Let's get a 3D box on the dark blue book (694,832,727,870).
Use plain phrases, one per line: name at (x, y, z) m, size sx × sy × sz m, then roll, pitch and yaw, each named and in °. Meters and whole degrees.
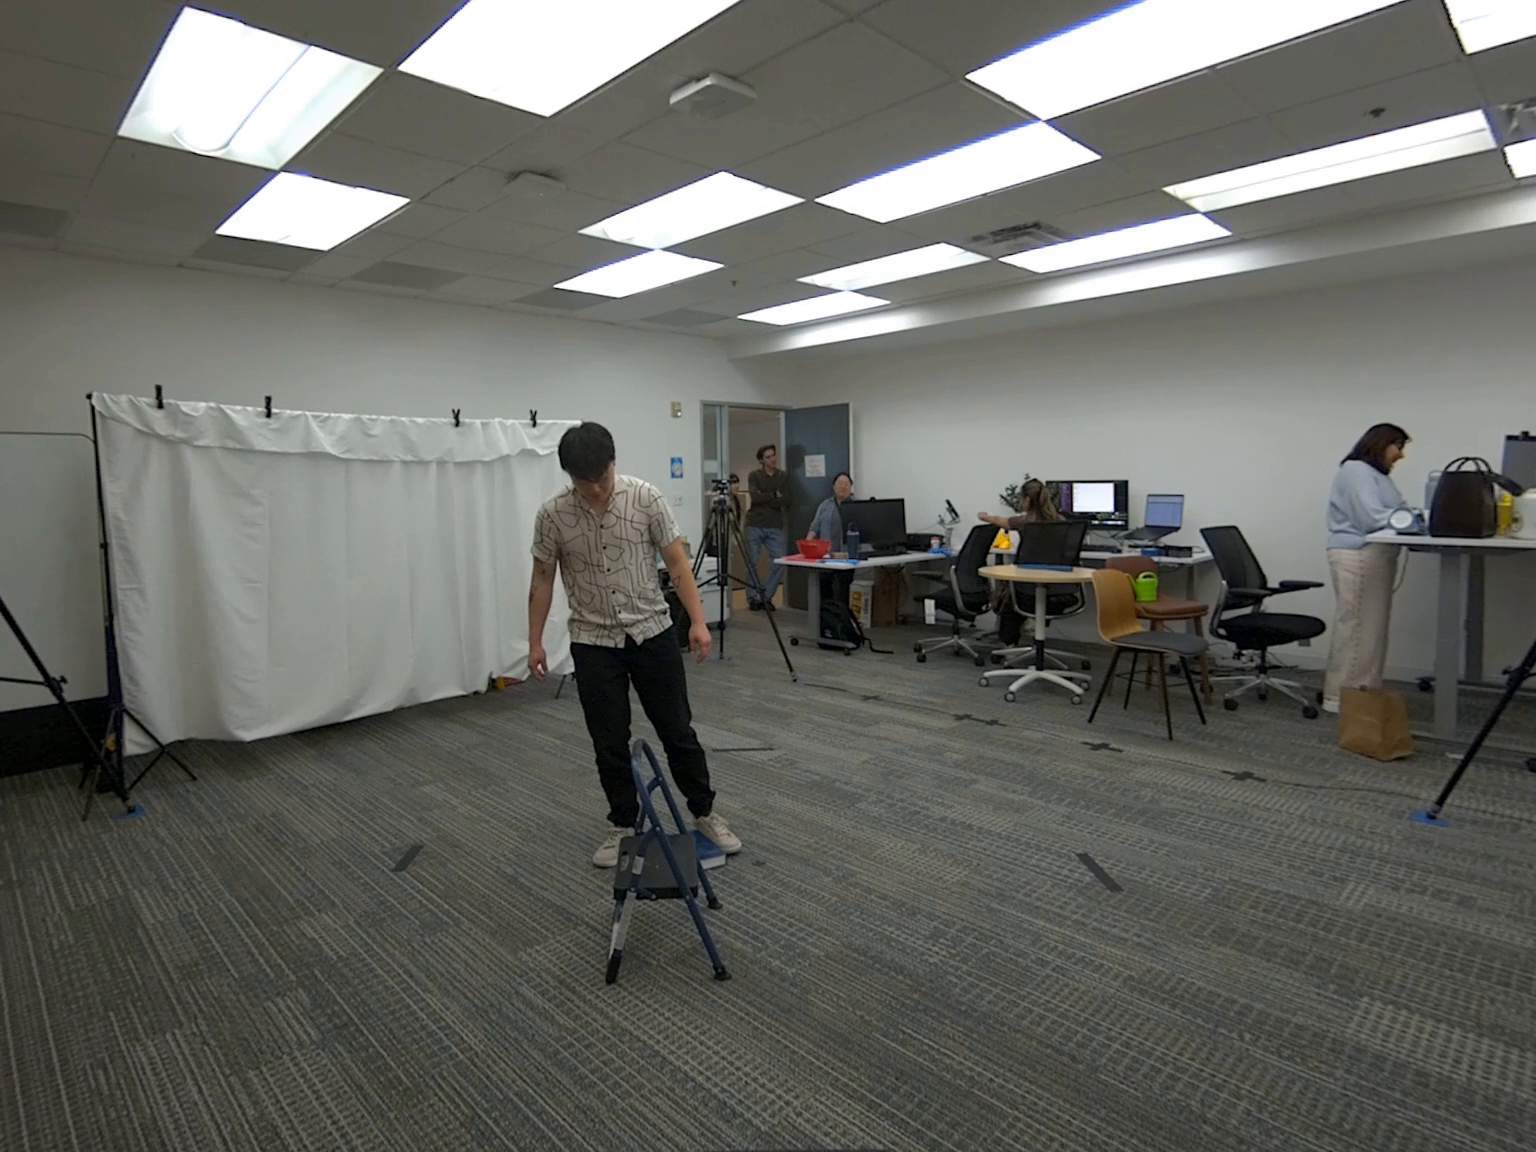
dark blue book at (-0.275, 1.023, 3.170) m, size 0.160 × 0.045 × 0.252 m, roll -5°, pitch 8°, yaw -30°
